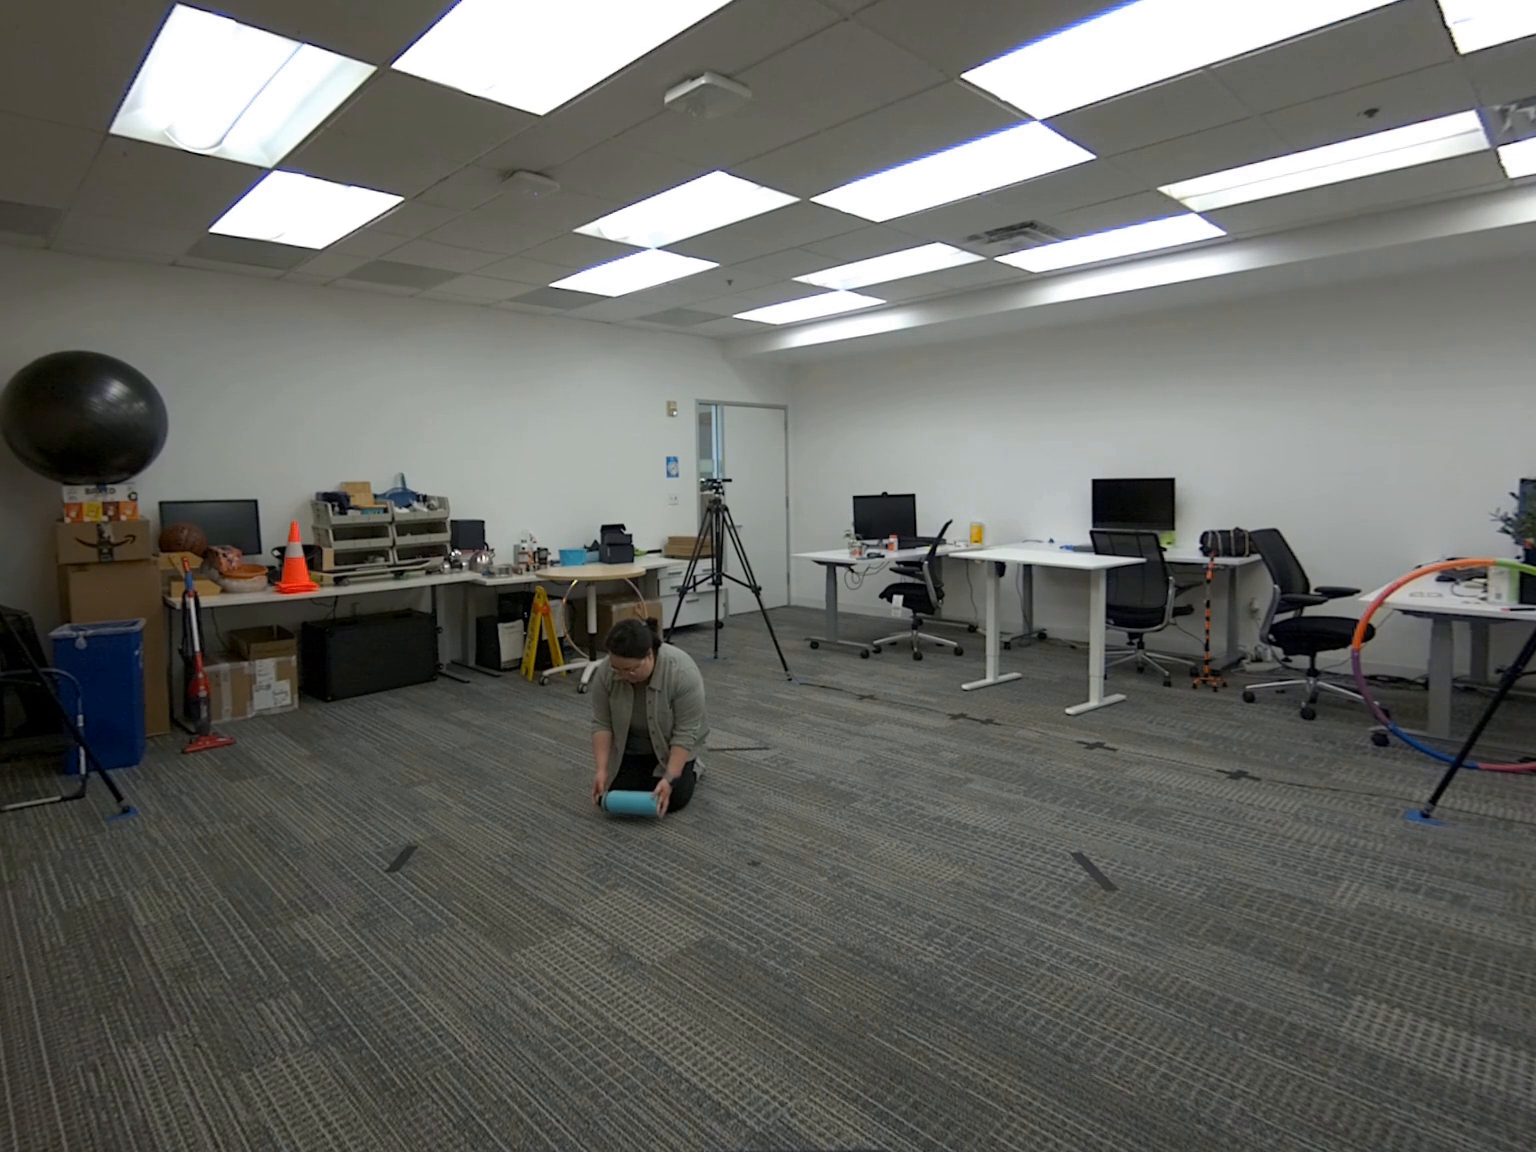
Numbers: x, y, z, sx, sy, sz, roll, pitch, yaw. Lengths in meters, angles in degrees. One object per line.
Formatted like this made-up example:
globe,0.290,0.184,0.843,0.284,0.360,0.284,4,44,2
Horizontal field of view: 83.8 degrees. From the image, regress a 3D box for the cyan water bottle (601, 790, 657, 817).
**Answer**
cyan water bottle,-0.573,0.937,3.524,0.288,0.092,0.091,-3,4,17
